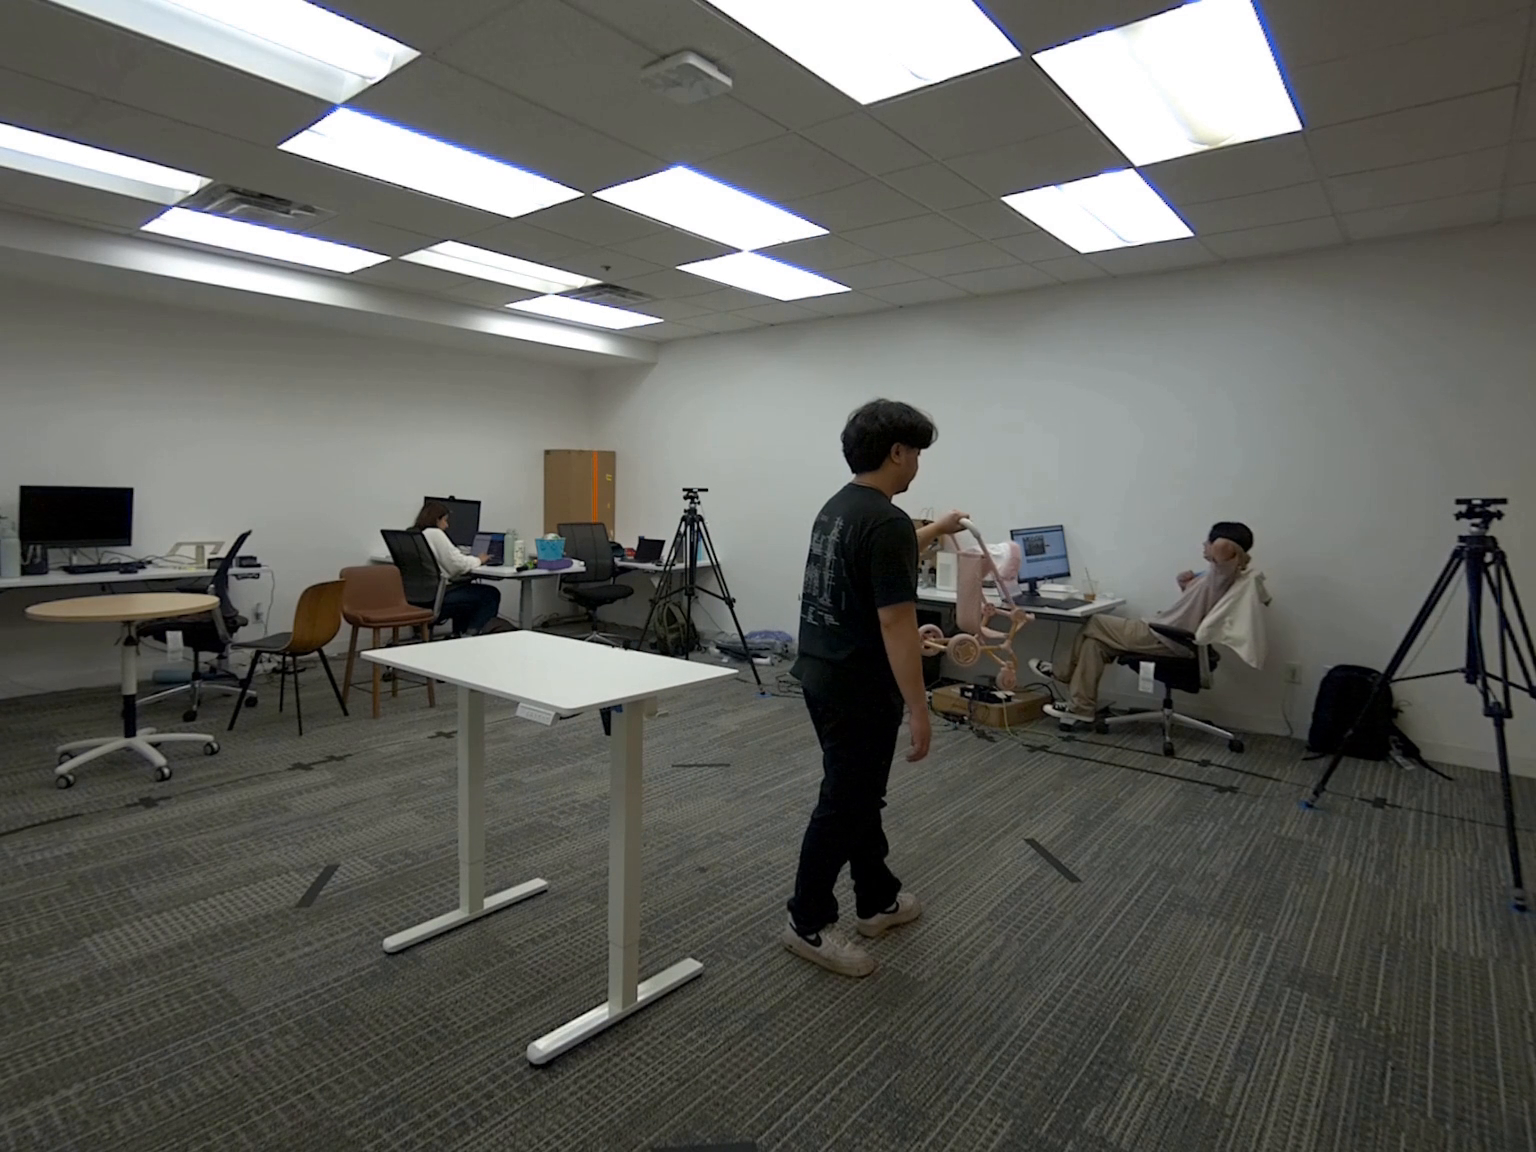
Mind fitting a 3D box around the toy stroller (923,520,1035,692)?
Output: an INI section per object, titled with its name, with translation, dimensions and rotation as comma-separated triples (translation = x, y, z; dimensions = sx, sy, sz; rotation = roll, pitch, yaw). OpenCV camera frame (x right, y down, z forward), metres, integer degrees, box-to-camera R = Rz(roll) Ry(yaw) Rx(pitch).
[toy stroller]
translation = 0.737, 0.098, 2.882
dimensions = 0.338, 0.535, 0.284
rotation = 9, -1, -8
